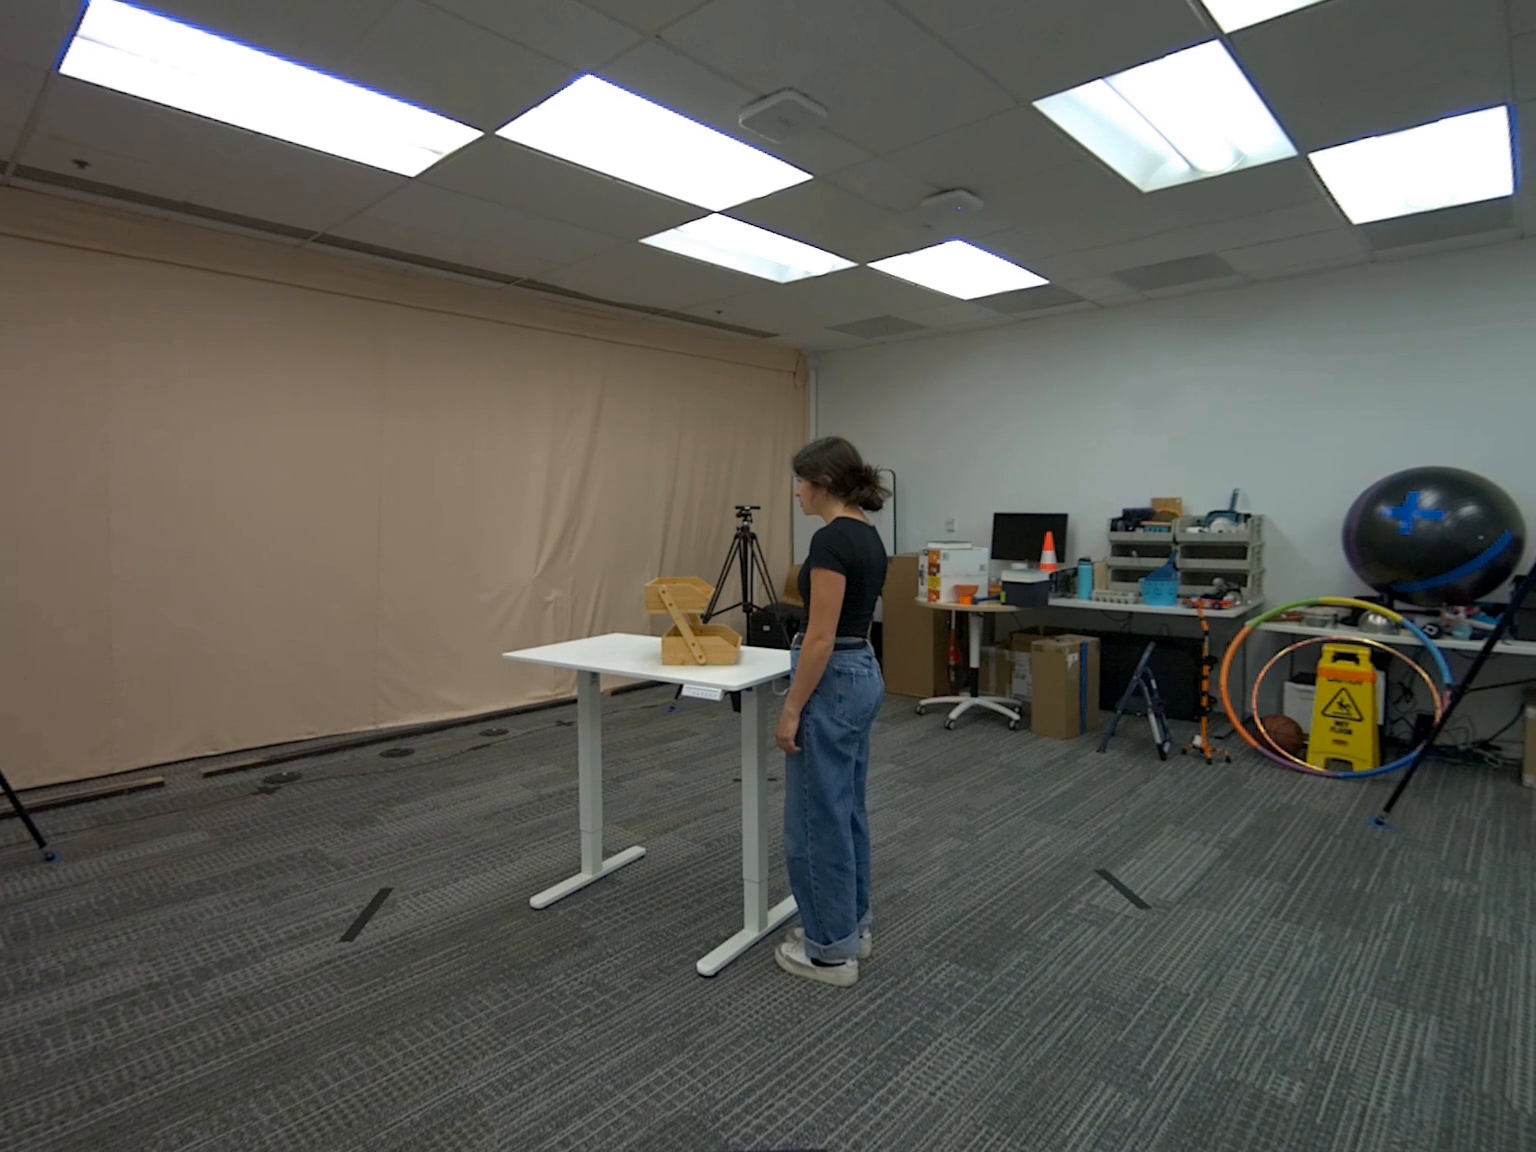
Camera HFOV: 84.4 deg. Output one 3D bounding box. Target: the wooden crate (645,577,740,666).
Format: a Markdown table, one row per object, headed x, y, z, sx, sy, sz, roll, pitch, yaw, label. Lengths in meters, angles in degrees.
| x | y | z | sx | sy | sz | roll | pitch | yaw | label |
| --- | --- | --- | --- | --- | --- | --- | --- | --- | --- |
| -0.239 | 0.148 | 2.831 | 0.302 | 0.273 | 0.324 | 0 | 3 | 0 | wooden crate |
